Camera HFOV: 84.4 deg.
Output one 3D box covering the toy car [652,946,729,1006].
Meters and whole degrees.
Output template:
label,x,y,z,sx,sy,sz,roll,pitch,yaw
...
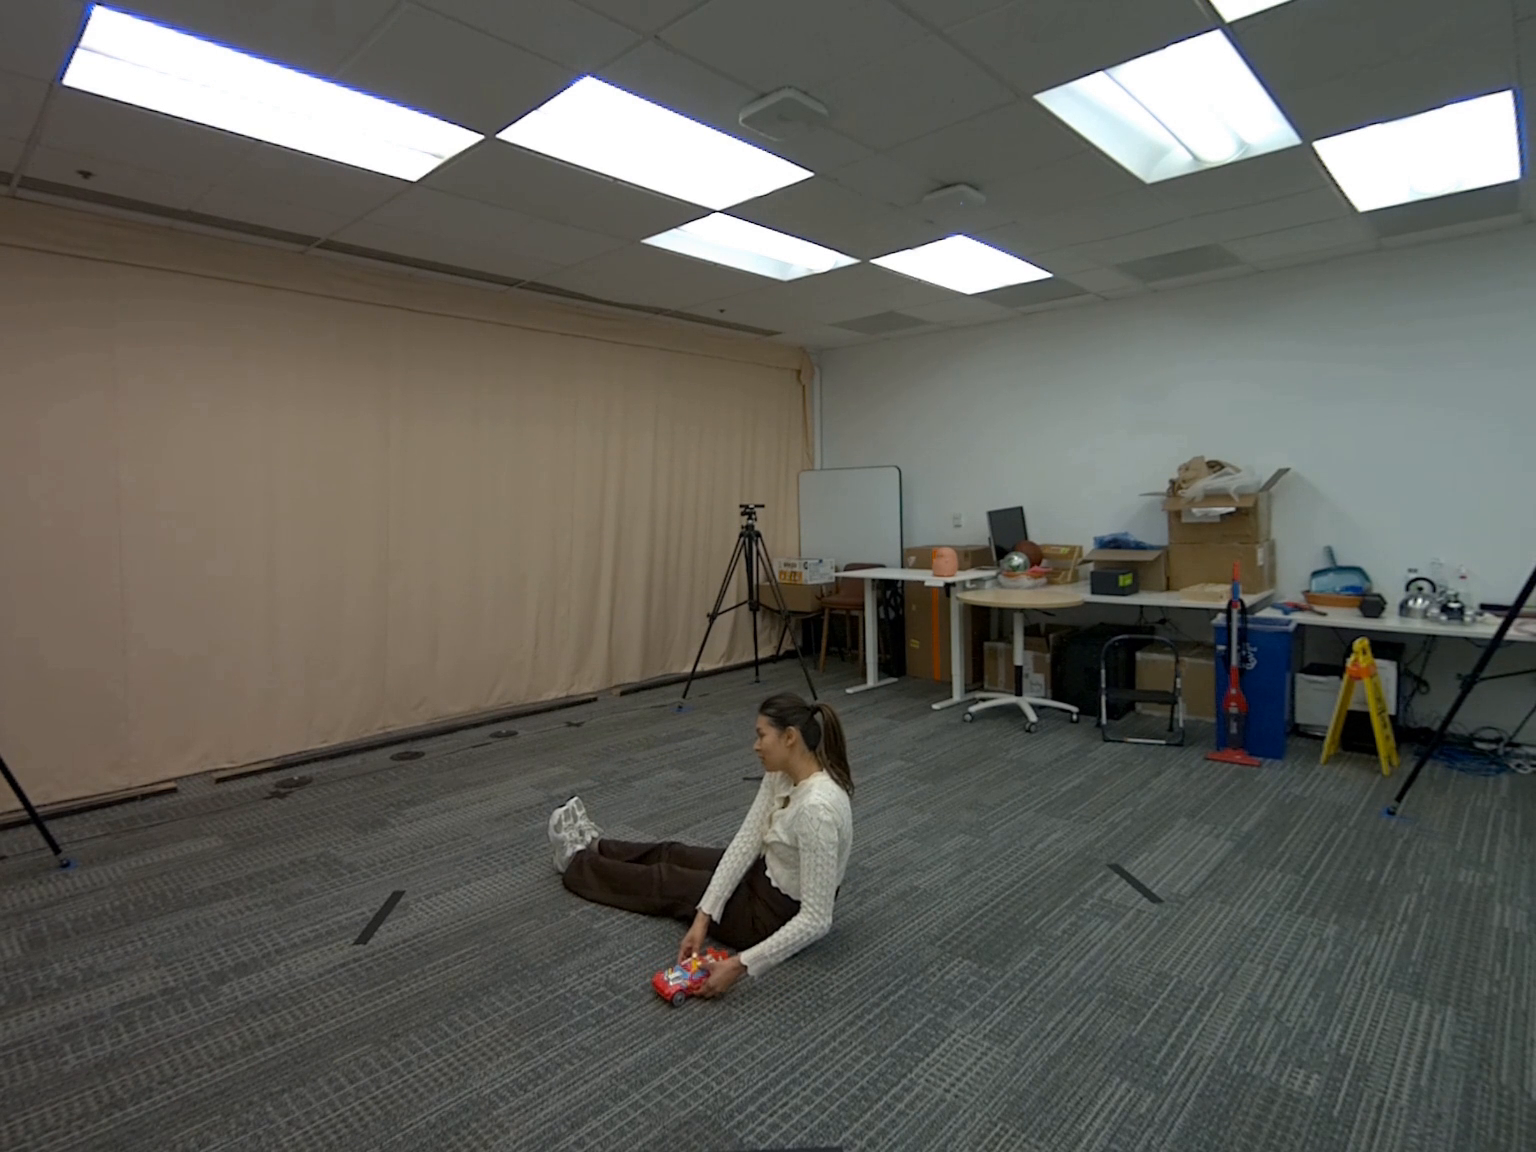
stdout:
label,x,y,z,sx,sy,sz,roll,pitch,yaw
toy car,-0.212,1.153,2.427,0.249,0.083,0.134,-12,10,-26
